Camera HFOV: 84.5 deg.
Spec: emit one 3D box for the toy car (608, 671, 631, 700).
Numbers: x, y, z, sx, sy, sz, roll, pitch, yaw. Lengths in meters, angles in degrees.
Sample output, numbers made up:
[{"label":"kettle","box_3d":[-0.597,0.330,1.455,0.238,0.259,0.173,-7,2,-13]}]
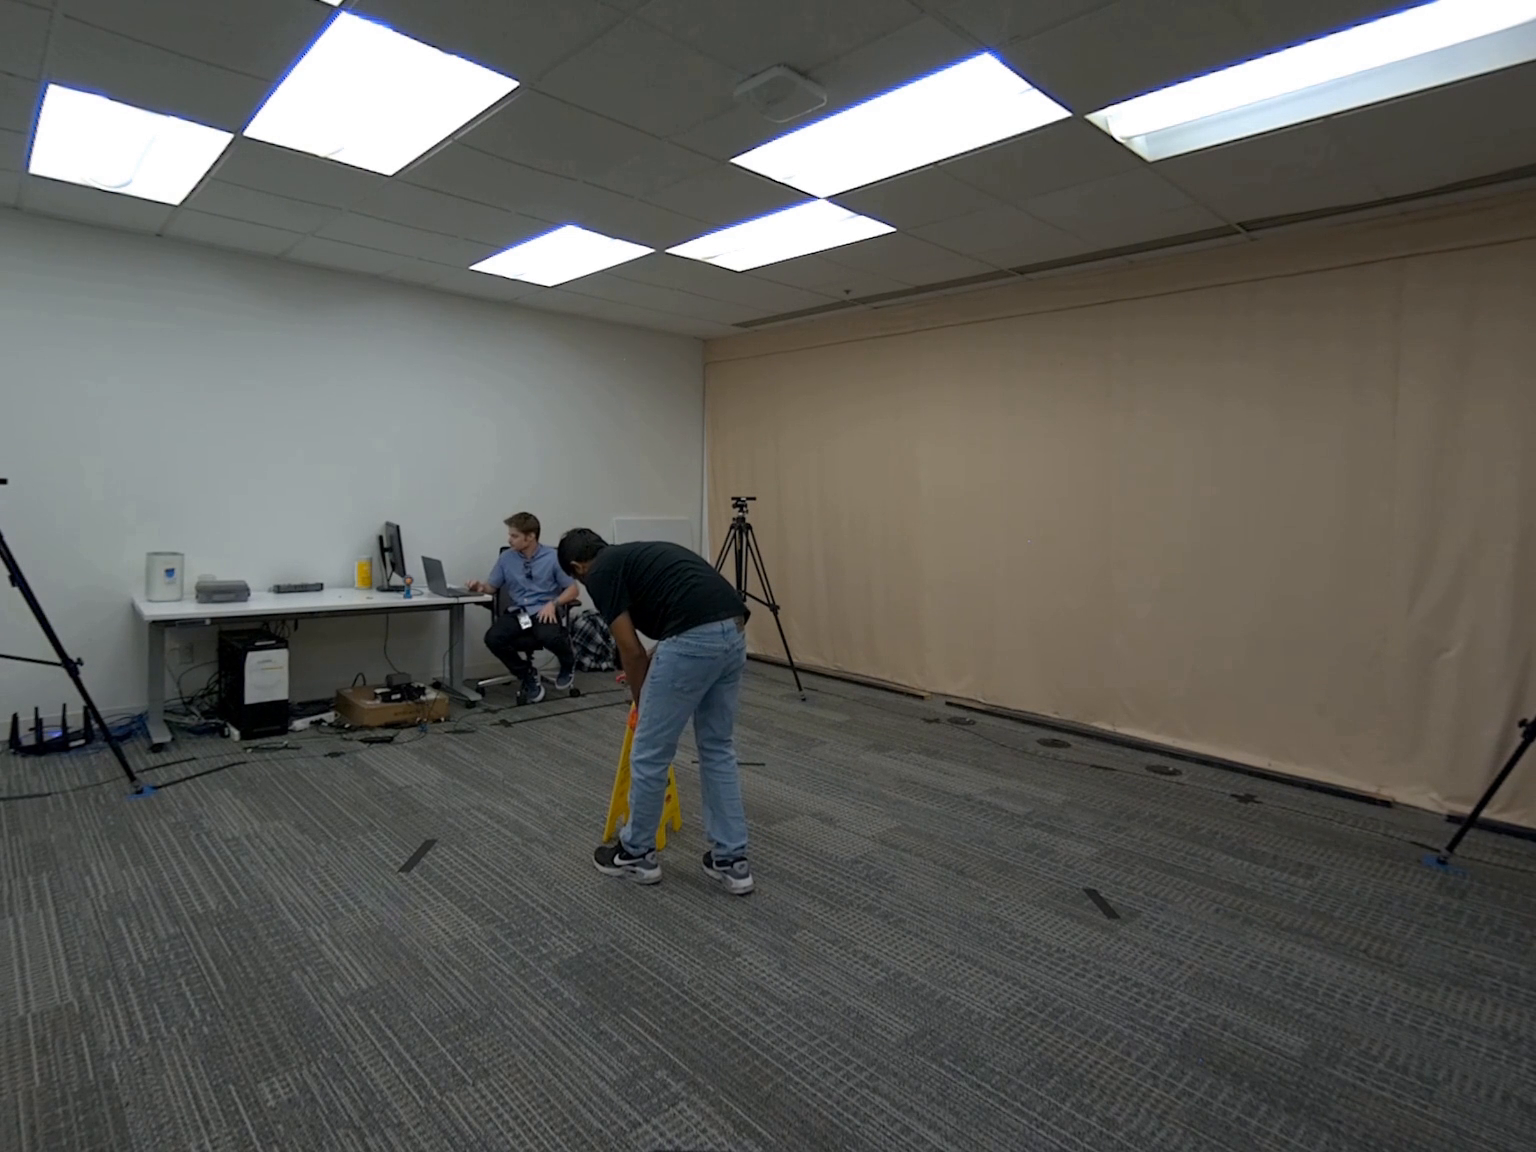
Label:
[{"label":"toy car","box_3d":[-0.510,0.400,3.469,0.255,0.084,0.129,-28,-5,5]}]
